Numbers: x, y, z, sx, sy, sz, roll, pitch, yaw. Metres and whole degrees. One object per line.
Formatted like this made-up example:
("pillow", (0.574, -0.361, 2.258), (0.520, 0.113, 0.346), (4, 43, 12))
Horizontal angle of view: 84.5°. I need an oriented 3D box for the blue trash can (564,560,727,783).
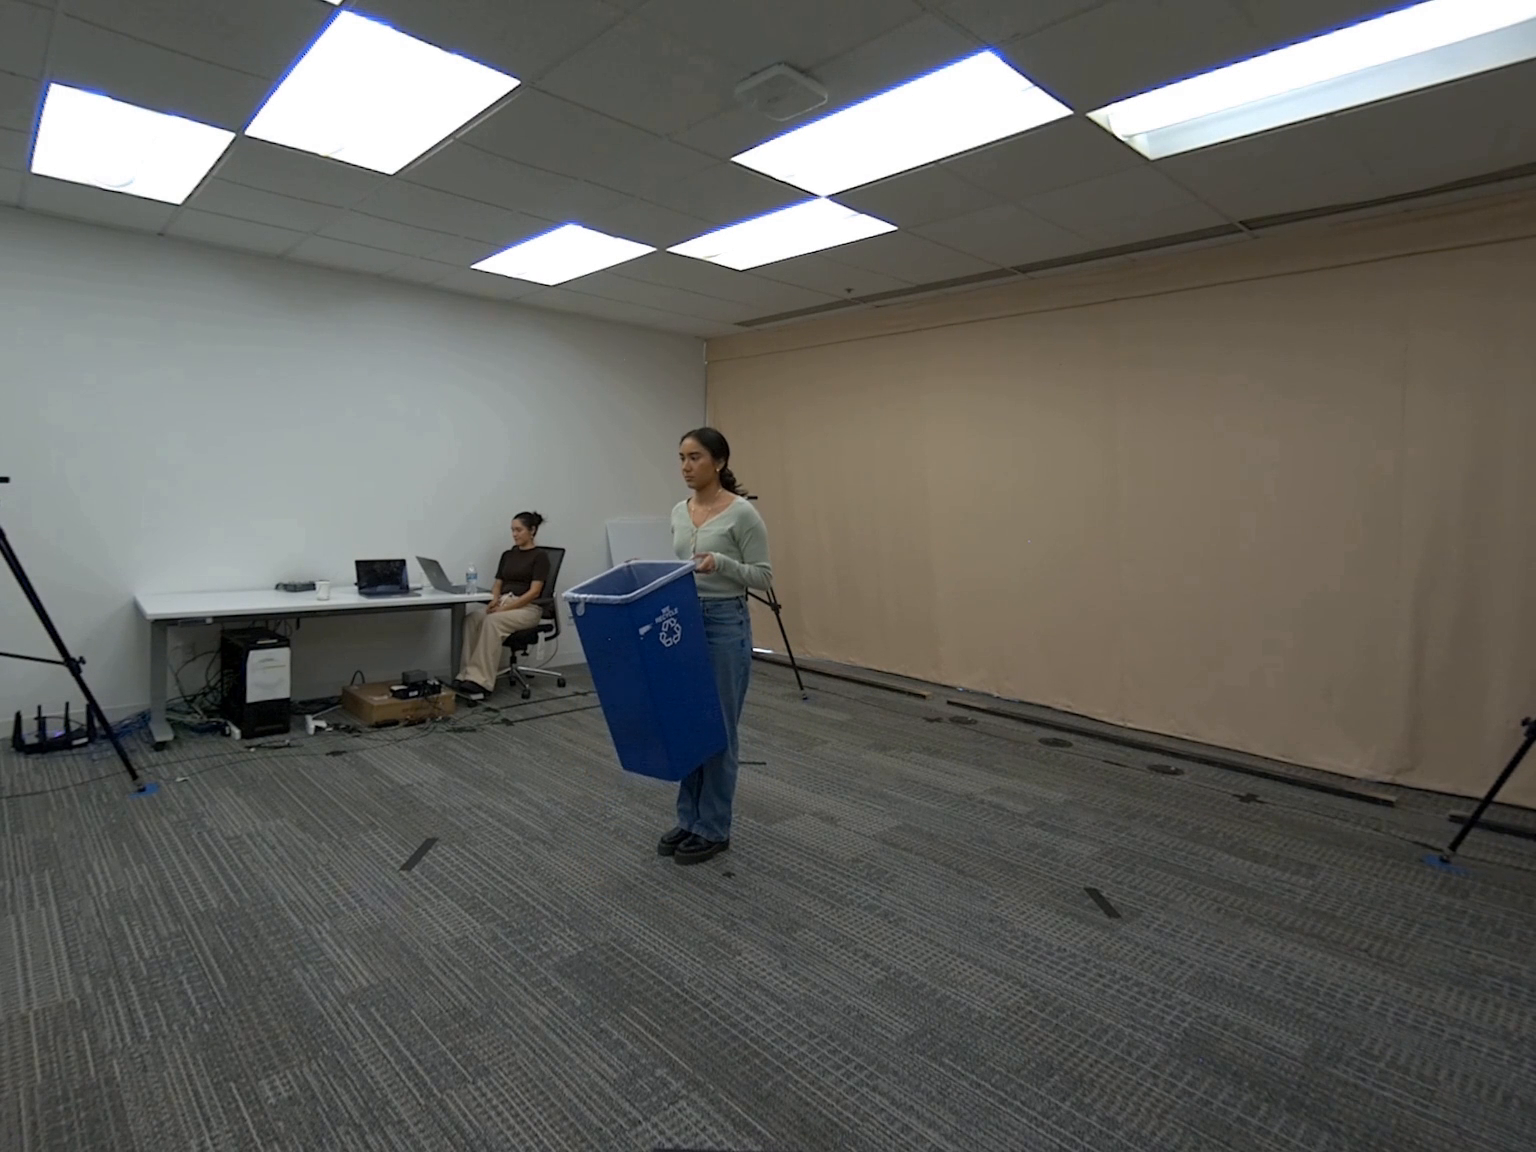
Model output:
("blue trash can", (-0.433, 0.344, 3.082), (0.387, 0.705, 0.370), (0, 19, 40))
